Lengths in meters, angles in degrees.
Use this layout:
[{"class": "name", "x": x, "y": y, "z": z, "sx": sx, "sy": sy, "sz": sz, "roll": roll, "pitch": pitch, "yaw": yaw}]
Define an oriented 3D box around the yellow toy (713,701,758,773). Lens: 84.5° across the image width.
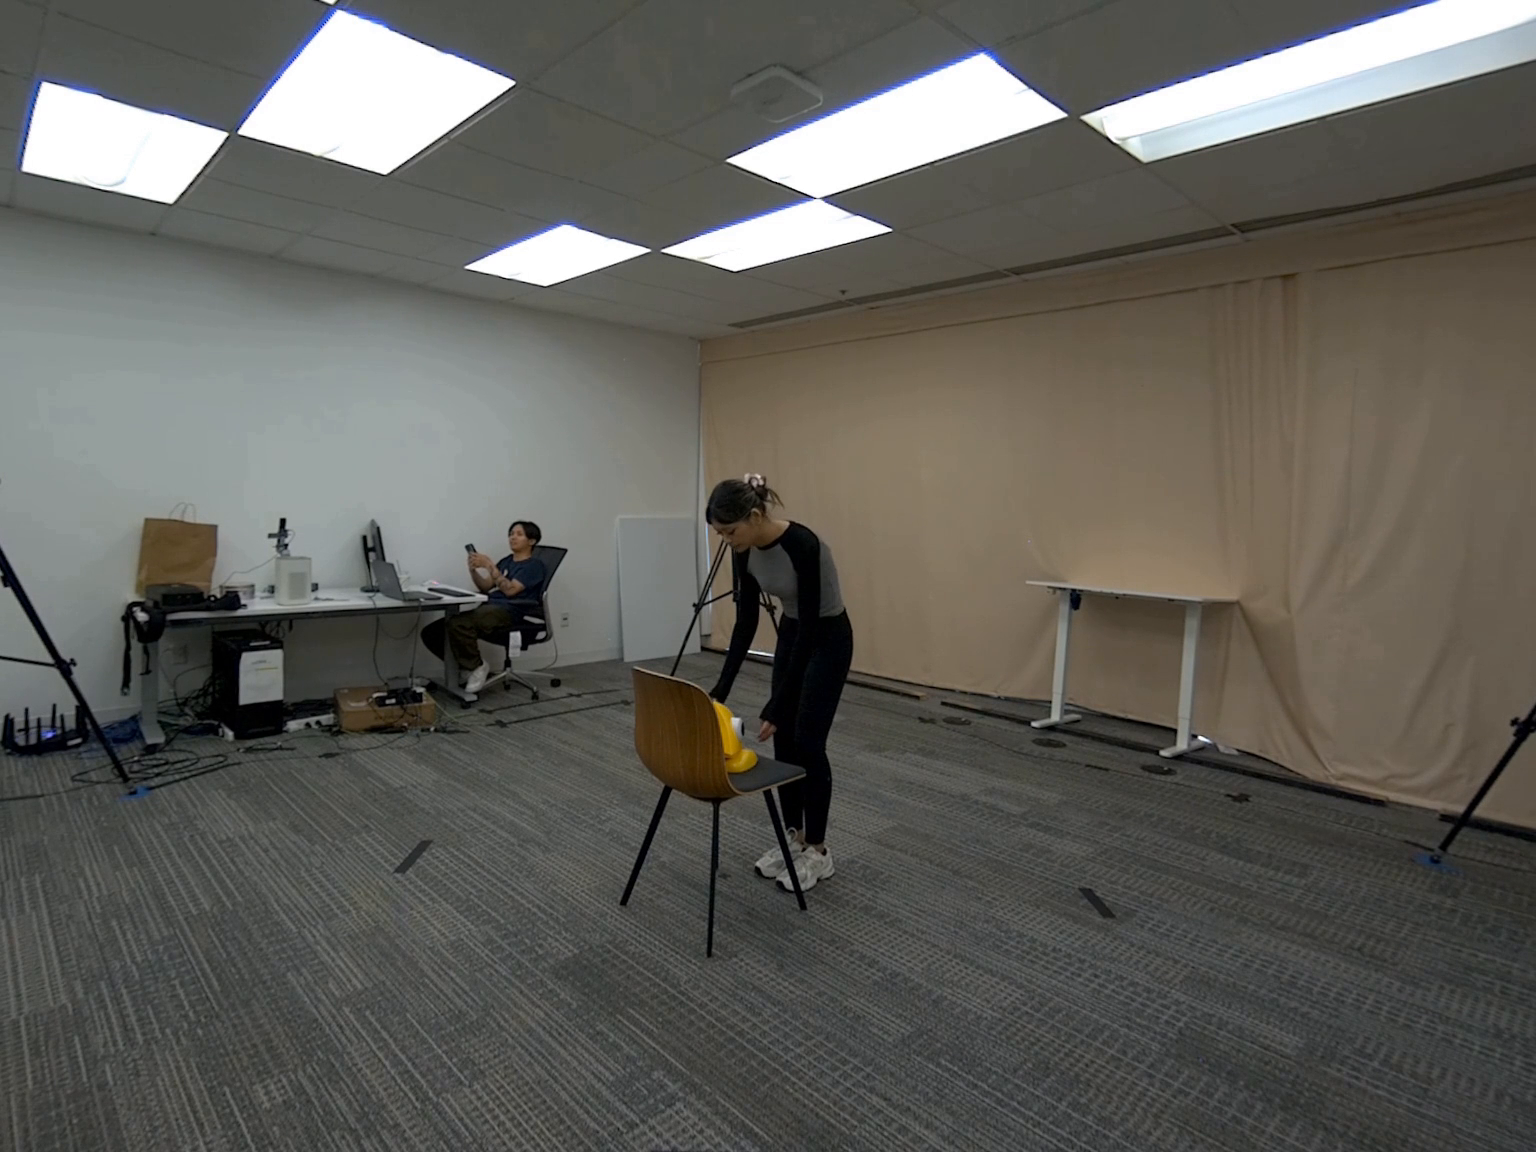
[{"class": "yellow toy", "x": -0.147, "y": 0.532, "z": 2.892, "sx": 0.210, "sy": 0.229, "sz": 0.189, "roll": 7, "pitch": 10, "yaw": 38}]
